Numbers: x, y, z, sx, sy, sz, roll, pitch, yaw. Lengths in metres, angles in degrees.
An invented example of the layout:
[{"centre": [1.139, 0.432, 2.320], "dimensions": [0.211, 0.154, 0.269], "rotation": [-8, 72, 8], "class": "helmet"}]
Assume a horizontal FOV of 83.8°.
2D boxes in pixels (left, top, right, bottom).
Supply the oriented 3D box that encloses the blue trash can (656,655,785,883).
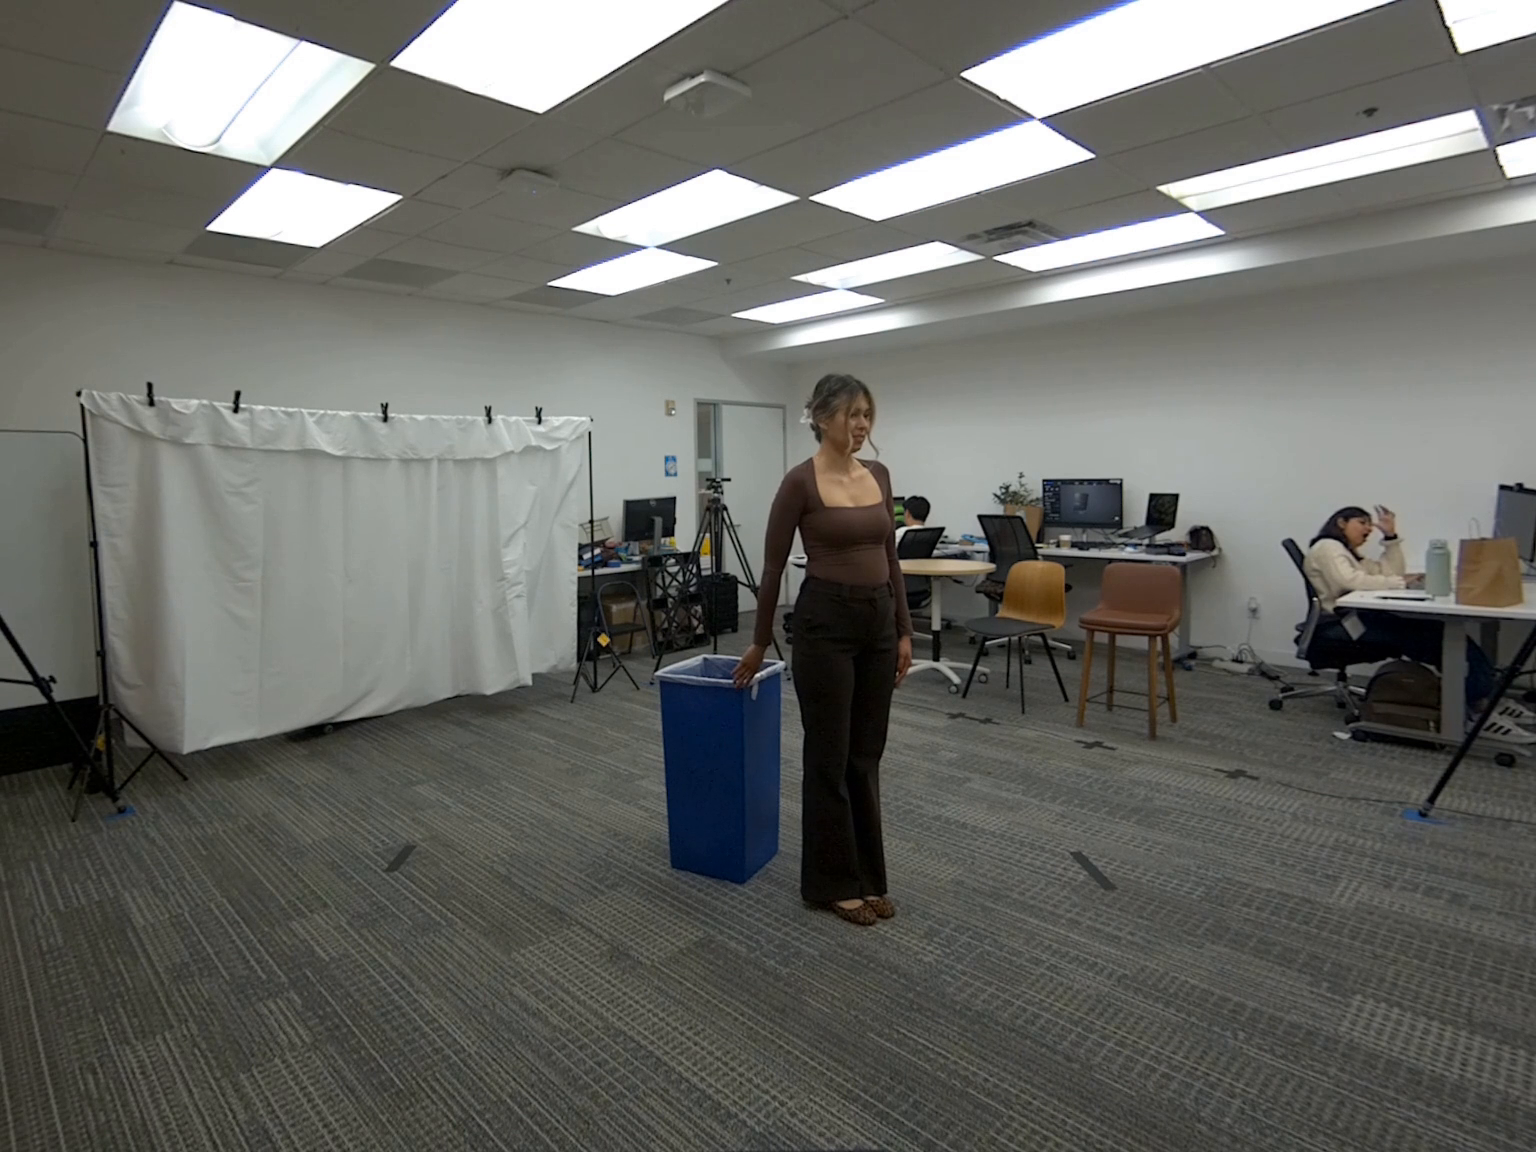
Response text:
[{"centre": [-0.157, 0.684, 3.116], "dimensions": [0.387, 0.712, 0.366], "rotation": [1, 3, 26], "class": "blue trash can"}]
